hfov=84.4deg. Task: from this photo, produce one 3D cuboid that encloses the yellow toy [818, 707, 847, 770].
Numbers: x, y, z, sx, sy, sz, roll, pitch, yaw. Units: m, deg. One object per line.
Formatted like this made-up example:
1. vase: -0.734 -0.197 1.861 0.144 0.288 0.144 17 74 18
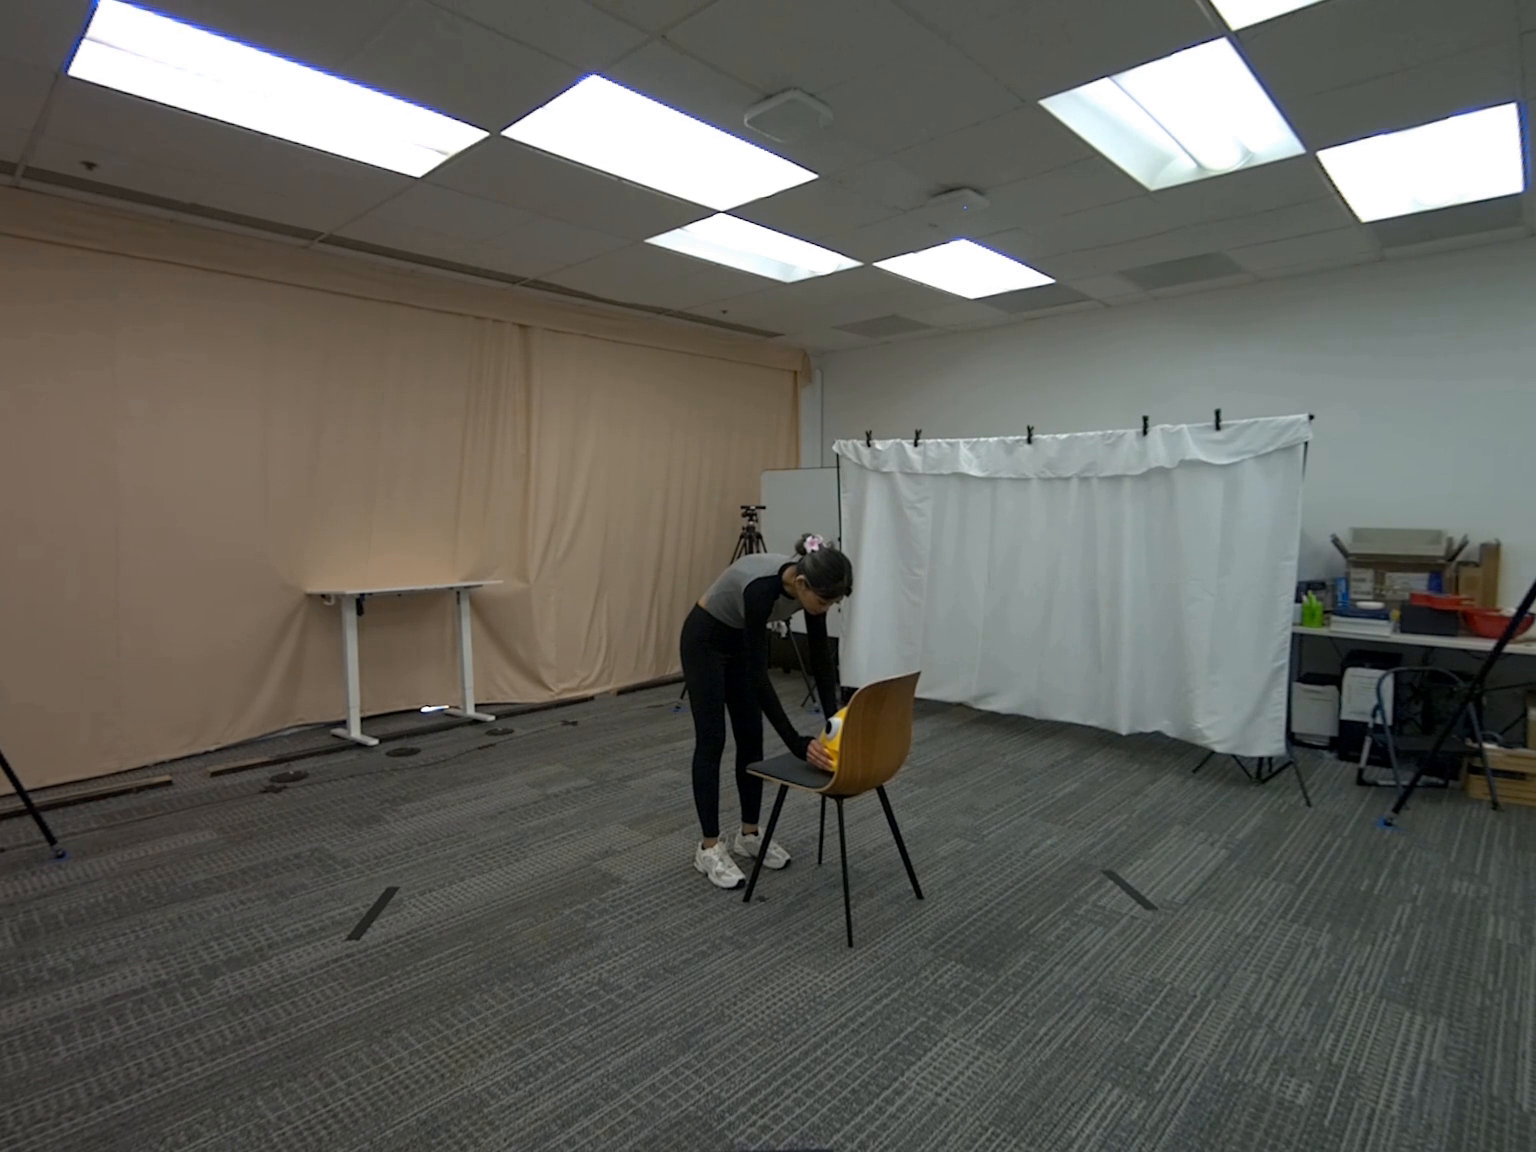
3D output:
1. yellow toy: 0.266 0.538 2.907 0.200 0.230 0.198 13 9 42
